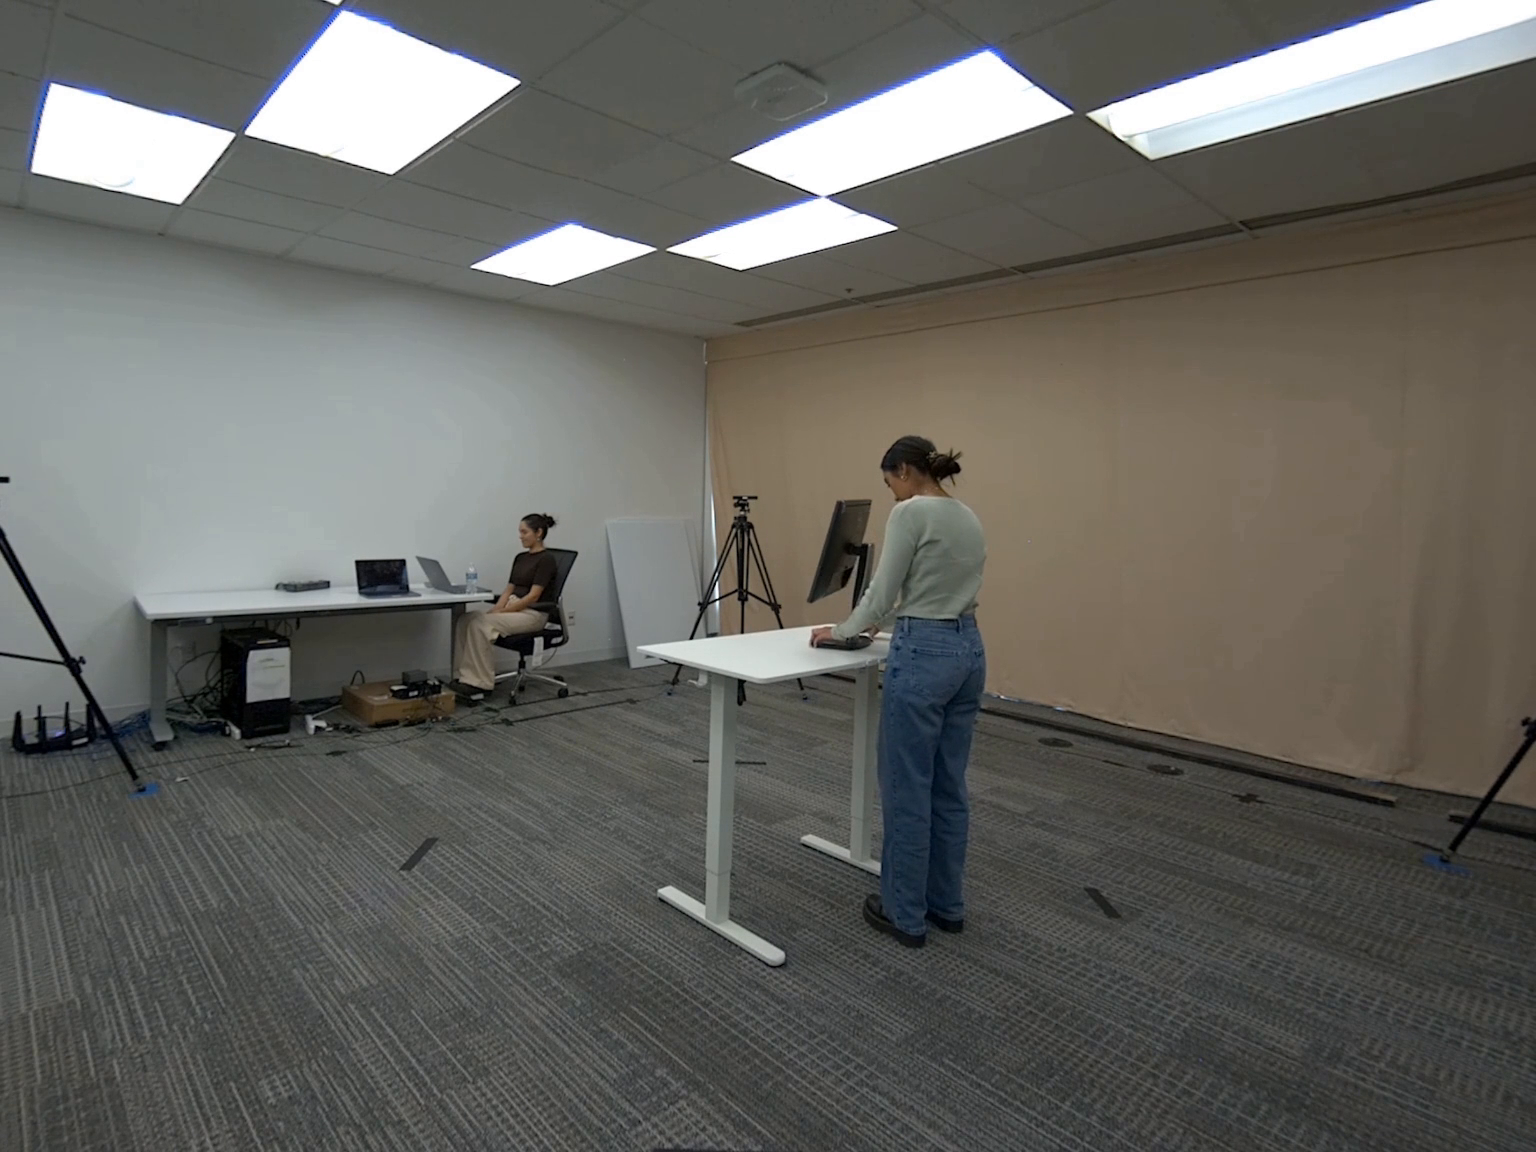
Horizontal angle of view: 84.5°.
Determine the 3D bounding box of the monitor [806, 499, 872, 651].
[{"bbox_3d":[0.273,-0.015,2.984,0.177,0.514,0.524,1,5,16],"label":"monitor"}]
